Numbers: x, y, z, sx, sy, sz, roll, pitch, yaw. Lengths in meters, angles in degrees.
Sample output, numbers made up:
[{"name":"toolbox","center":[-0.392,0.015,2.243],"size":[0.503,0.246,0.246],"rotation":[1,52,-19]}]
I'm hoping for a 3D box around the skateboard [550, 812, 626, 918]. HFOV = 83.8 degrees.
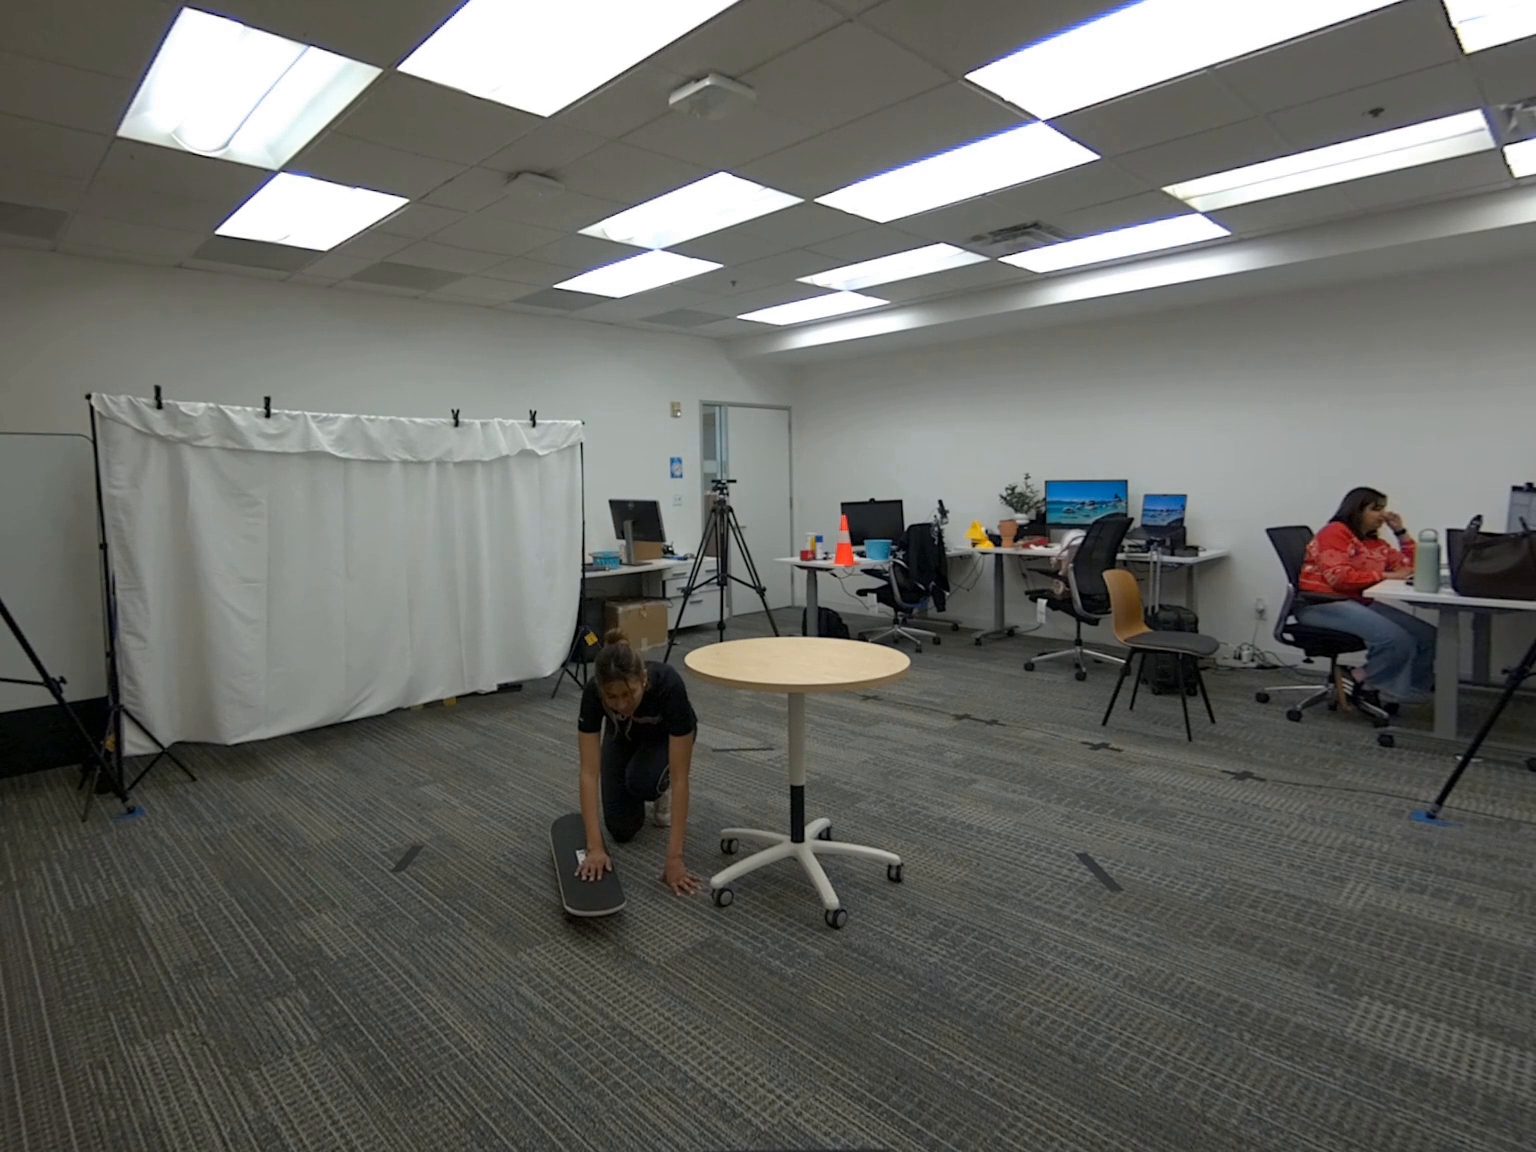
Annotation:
[{"name":"skateboard","center":[-0.637,1.026,2.948],"size":[0.190,0.110,0.801],"rotation":[-4,7,-19]}]
